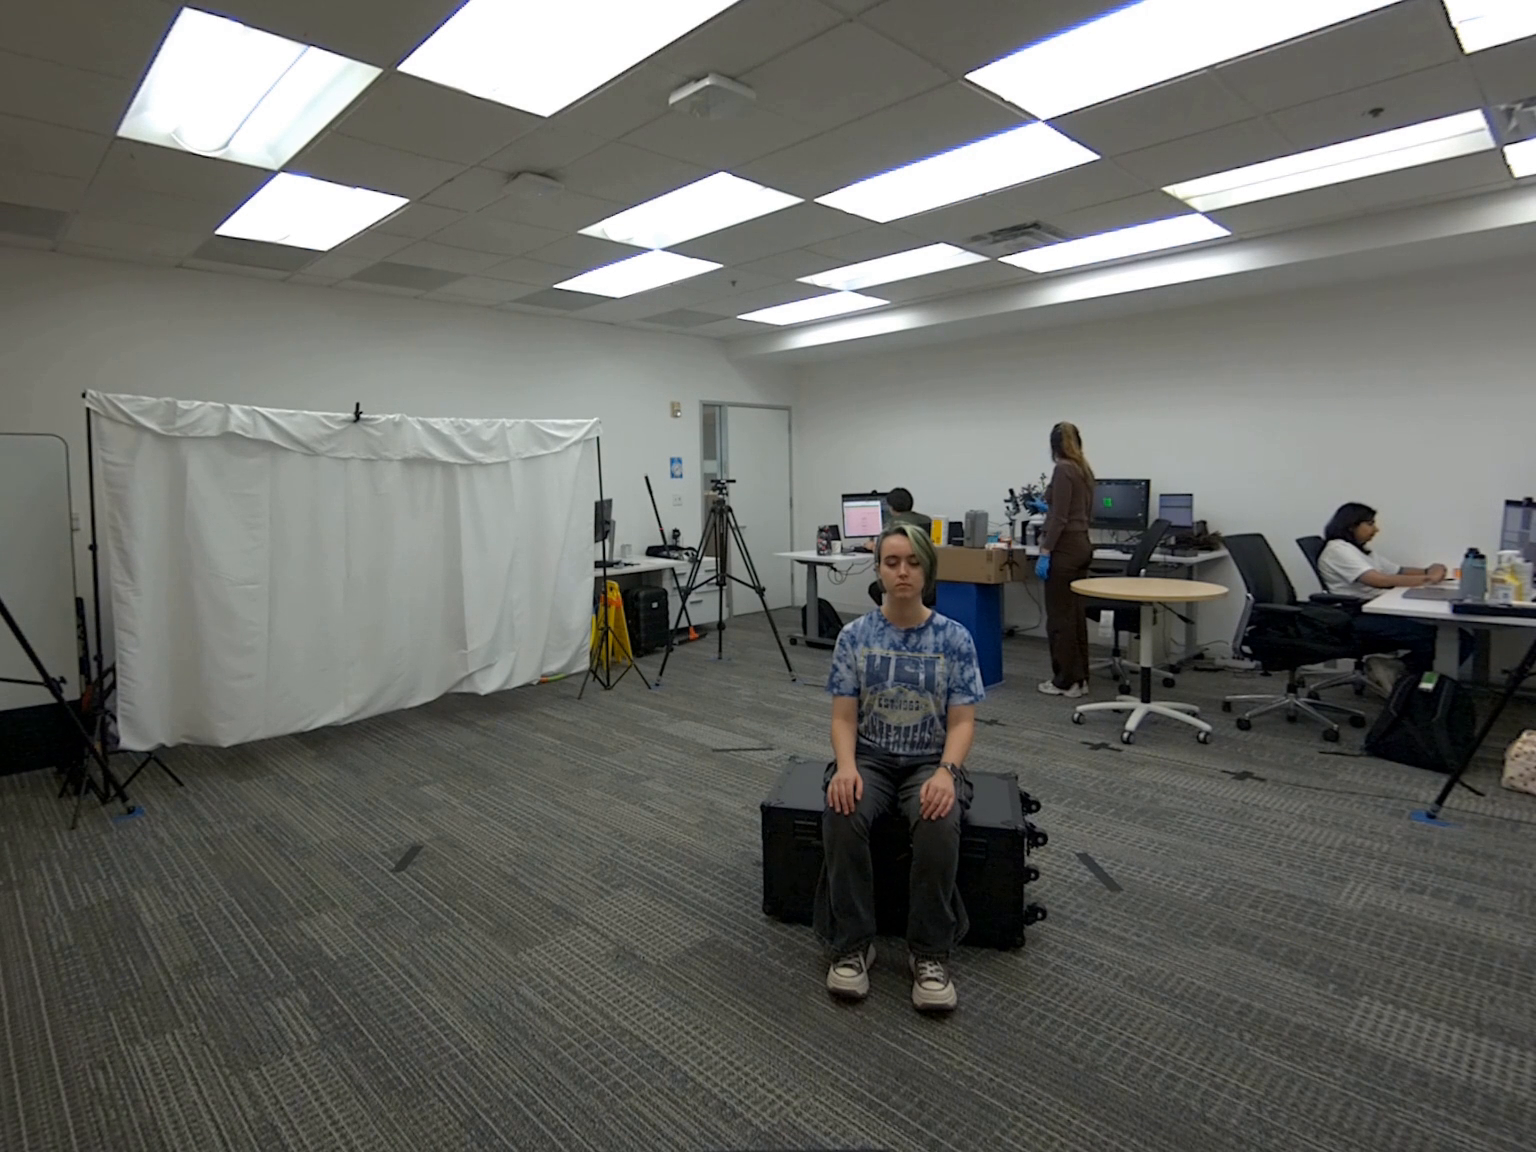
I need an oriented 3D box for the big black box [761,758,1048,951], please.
[{"bbox_3d":[0.448,0.882,2.800,0.874,0.395,0.516,0,5,14],"label":"big black box"}]
